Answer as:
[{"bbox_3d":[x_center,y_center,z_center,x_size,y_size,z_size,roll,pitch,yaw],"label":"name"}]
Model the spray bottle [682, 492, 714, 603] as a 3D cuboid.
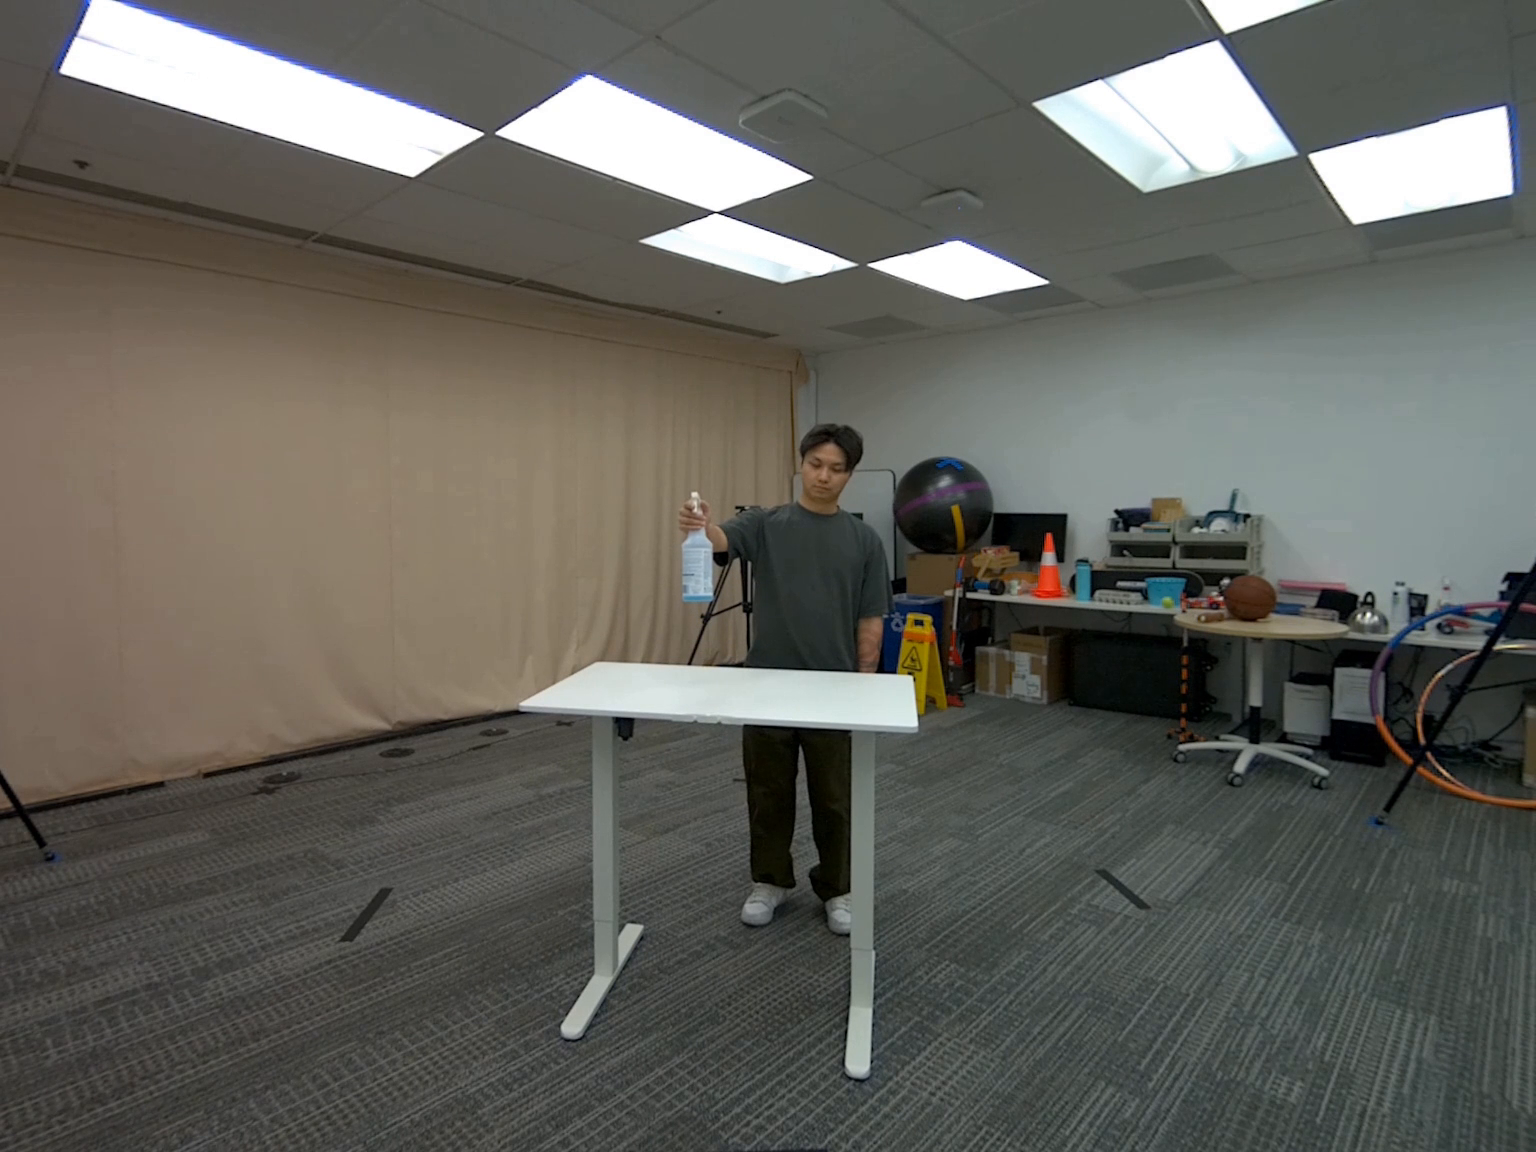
[{"bbox_3d":[-0.197,-0.078,2.324,0.089,0.298,0.087,-3,-5,29],"label":"spray bottle"}]
